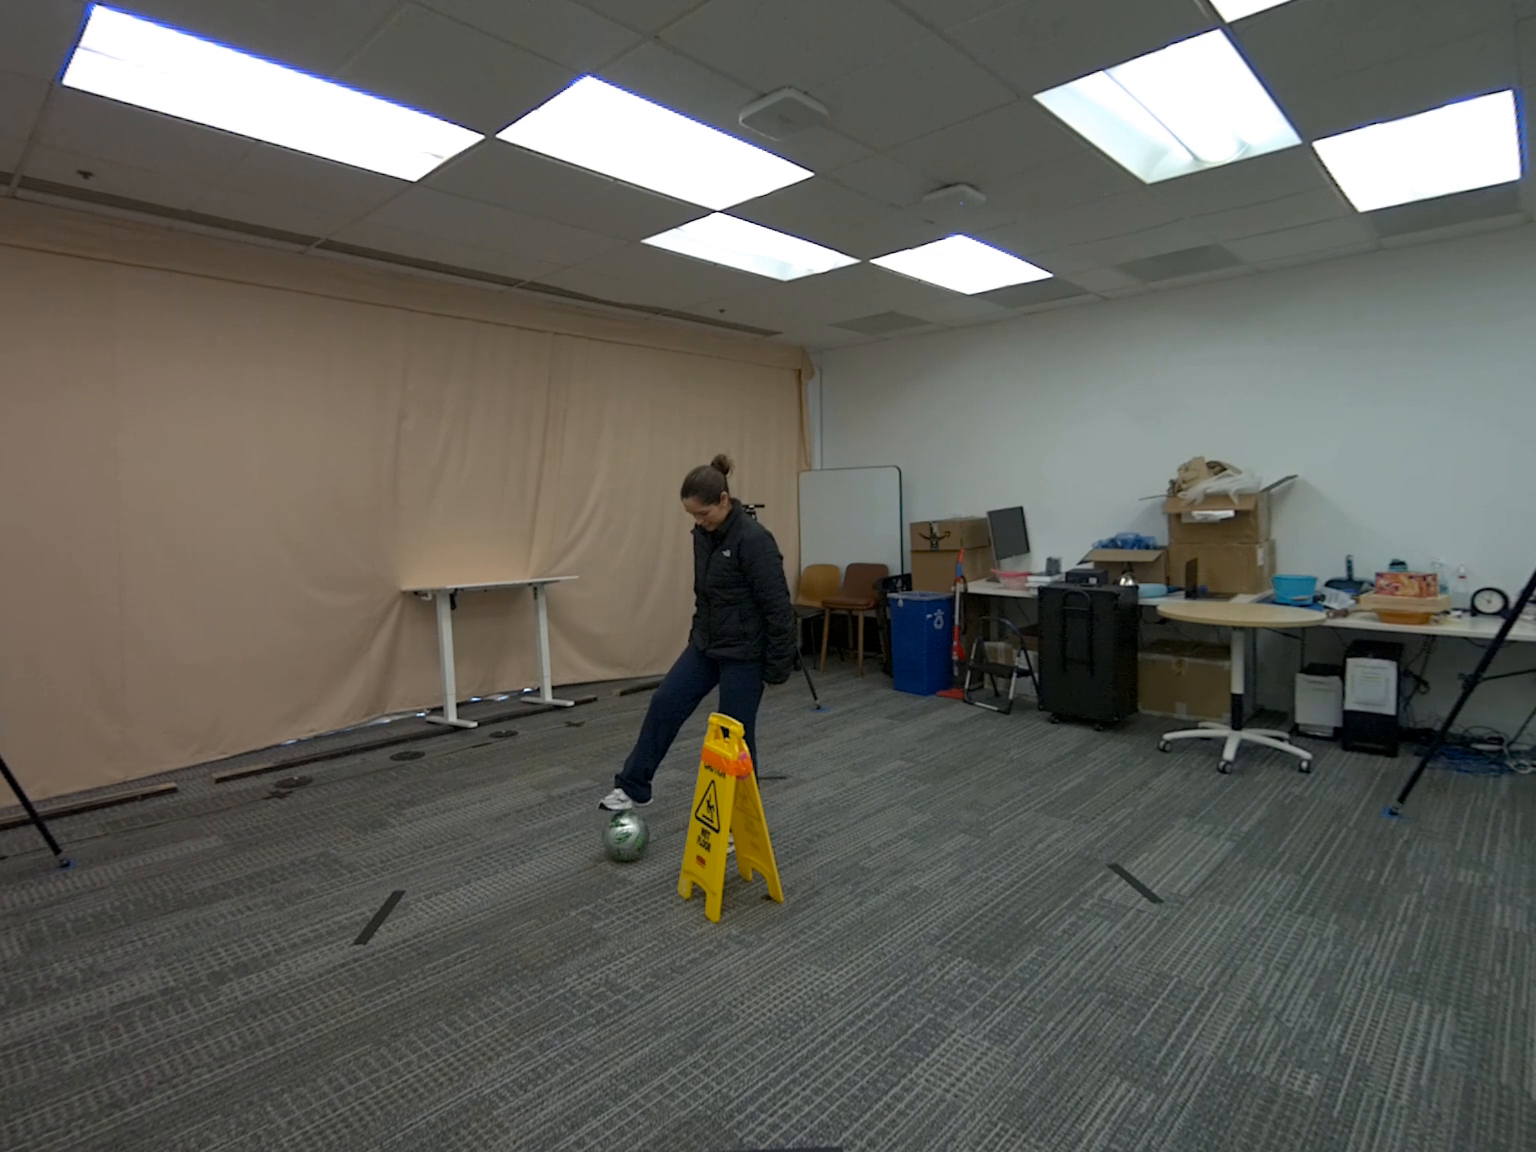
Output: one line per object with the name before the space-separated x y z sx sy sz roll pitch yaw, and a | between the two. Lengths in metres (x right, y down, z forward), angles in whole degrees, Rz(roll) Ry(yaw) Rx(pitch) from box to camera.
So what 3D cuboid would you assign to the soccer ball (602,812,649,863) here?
soccer ball | -0.562 1.029 3.334 0.187 0.187 0.188 -1 4 -2
